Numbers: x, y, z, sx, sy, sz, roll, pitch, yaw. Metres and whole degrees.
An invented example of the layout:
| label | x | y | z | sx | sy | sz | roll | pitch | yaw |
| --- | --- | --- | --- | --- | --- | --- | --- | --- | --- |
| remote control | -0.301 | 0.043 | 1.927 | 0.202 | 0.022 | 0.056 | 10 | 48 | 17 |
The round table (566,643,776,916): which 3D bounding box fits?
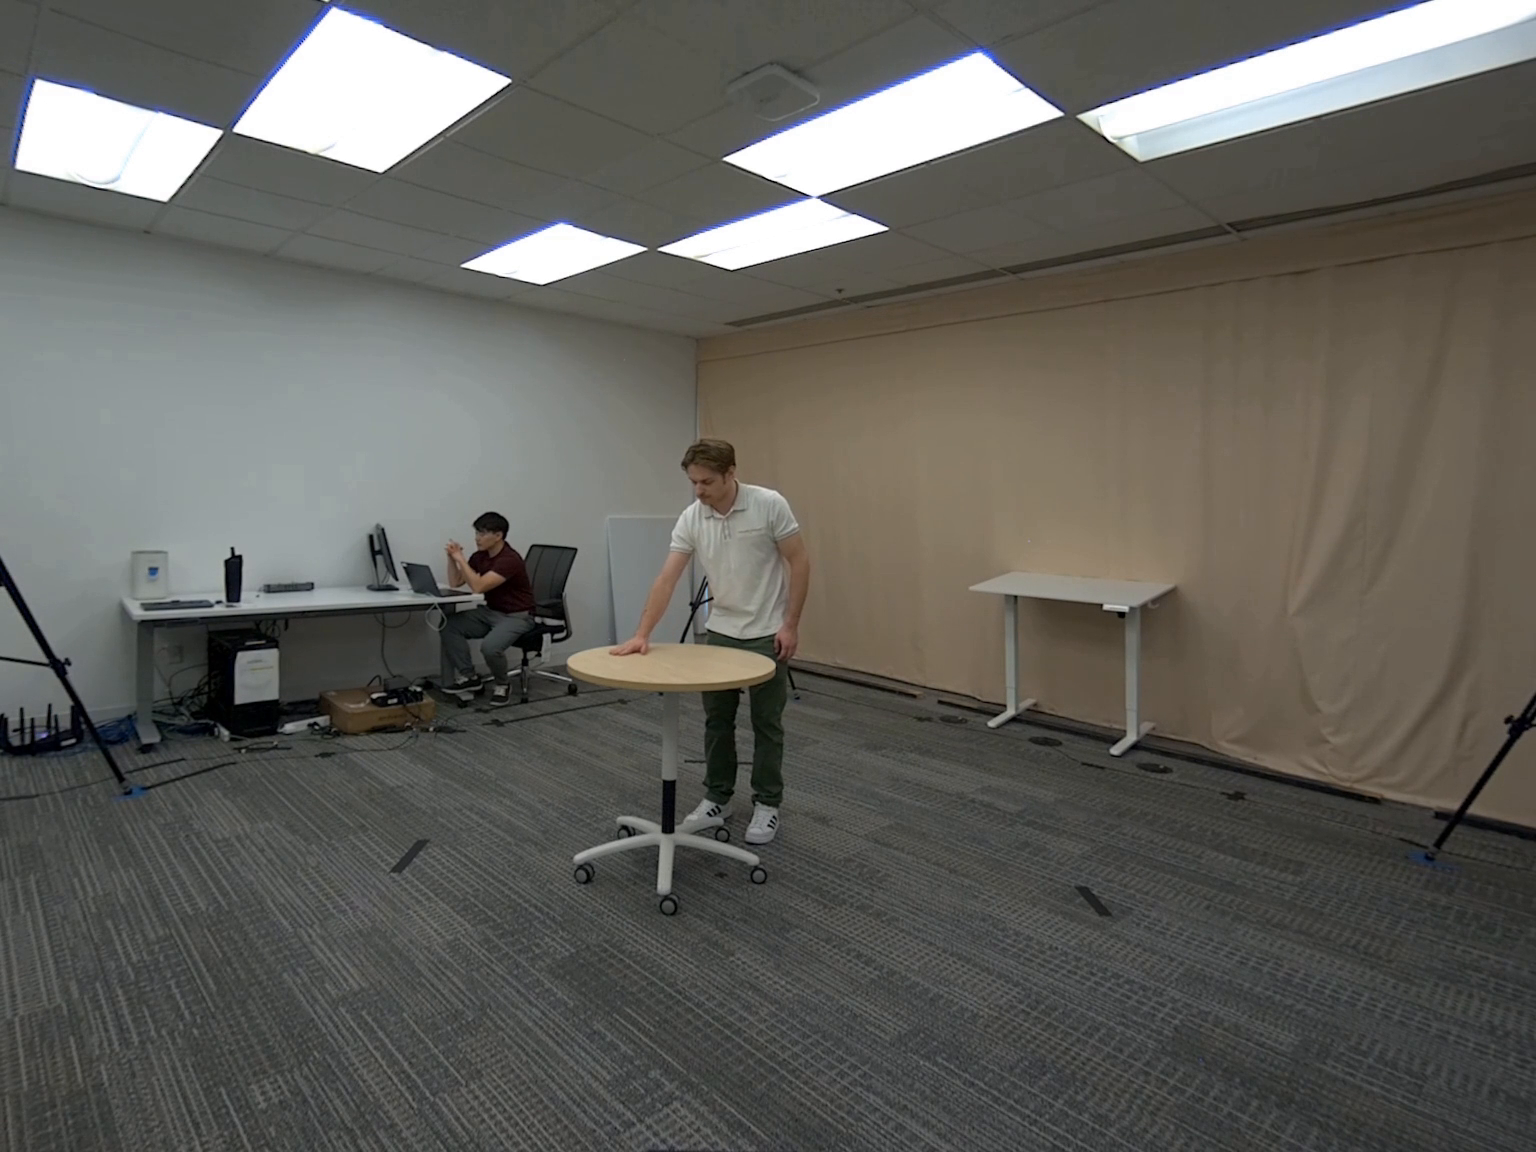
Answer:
| label | x | y | z | sx | sy | sz | roll | pitch | yaw |
| --- | --- | --- | --- | --- | --- | --- | --- | --- | --- |
| round table | -0.386 | 0.704 | 3.118 | 0.784 | 0.785 | 0.787 | 2 | 4 | -1 |
